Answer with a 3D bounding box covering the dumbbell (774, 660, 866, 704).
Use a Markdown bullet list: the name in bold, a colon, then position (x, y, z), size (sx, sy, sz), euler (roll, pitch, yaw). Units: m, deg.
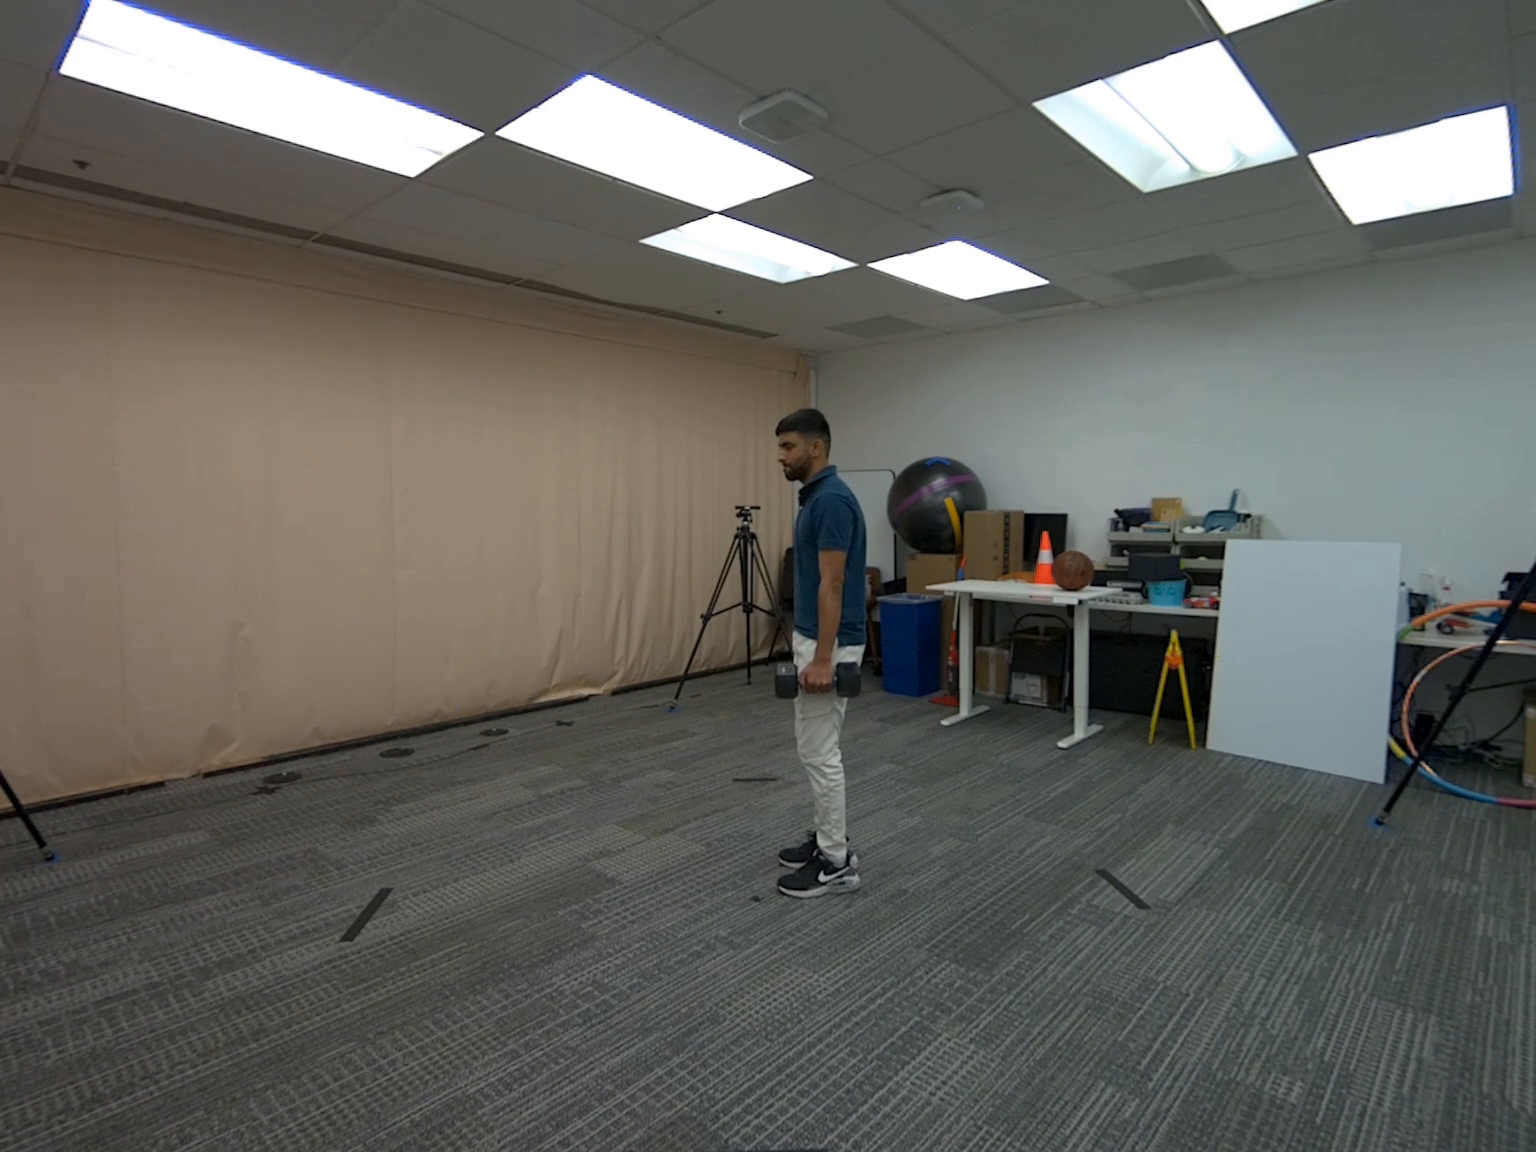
- **dumbbell**: position (0.174, 0.356, 2.922), size (0.293, 0.123, 0.109), euler (-4, 0, 0)
